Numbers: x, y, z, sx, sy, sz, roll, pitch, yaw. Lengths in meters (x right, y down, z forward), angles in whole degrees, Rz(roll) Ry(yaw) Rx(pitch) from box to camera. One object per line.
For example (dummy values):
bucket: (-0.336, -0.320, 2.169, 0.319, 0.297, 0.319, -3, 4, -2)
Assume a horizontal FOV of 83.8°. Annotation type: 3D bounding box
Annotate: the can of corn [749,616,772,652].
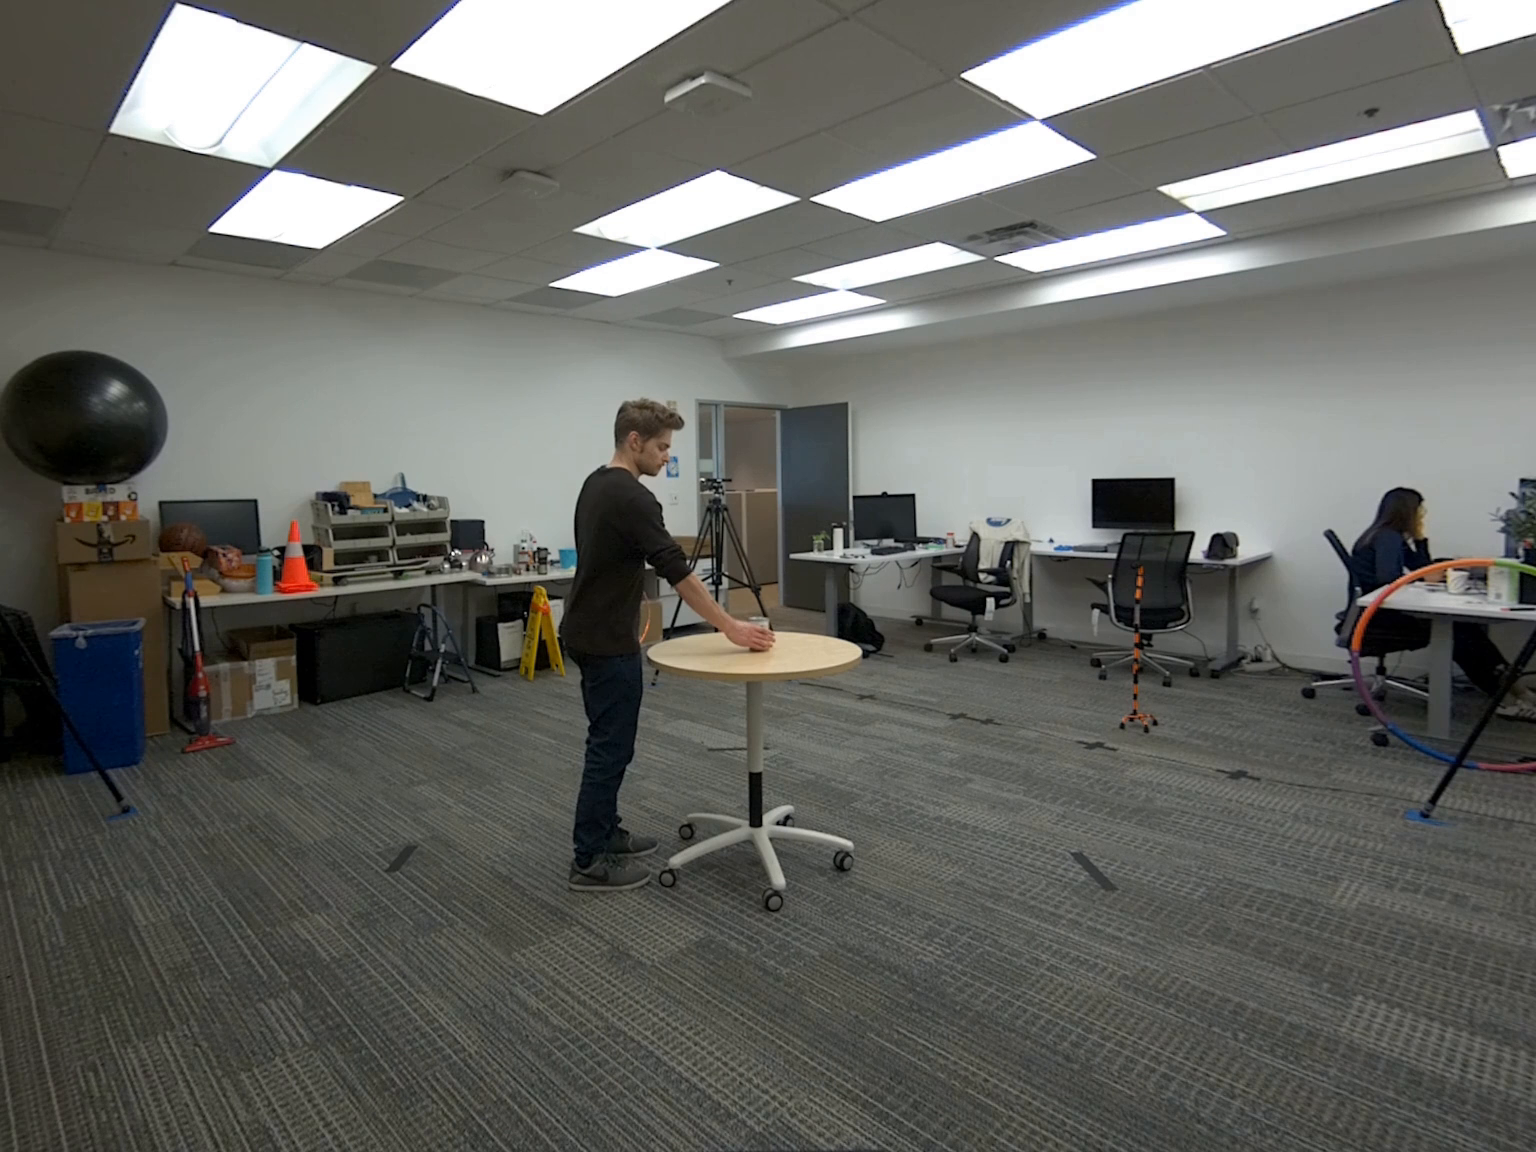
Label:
can of corn: (-0.028, 0.205, 3.058, 0.074, 0.110, 0.075, -1, 6, -2)
